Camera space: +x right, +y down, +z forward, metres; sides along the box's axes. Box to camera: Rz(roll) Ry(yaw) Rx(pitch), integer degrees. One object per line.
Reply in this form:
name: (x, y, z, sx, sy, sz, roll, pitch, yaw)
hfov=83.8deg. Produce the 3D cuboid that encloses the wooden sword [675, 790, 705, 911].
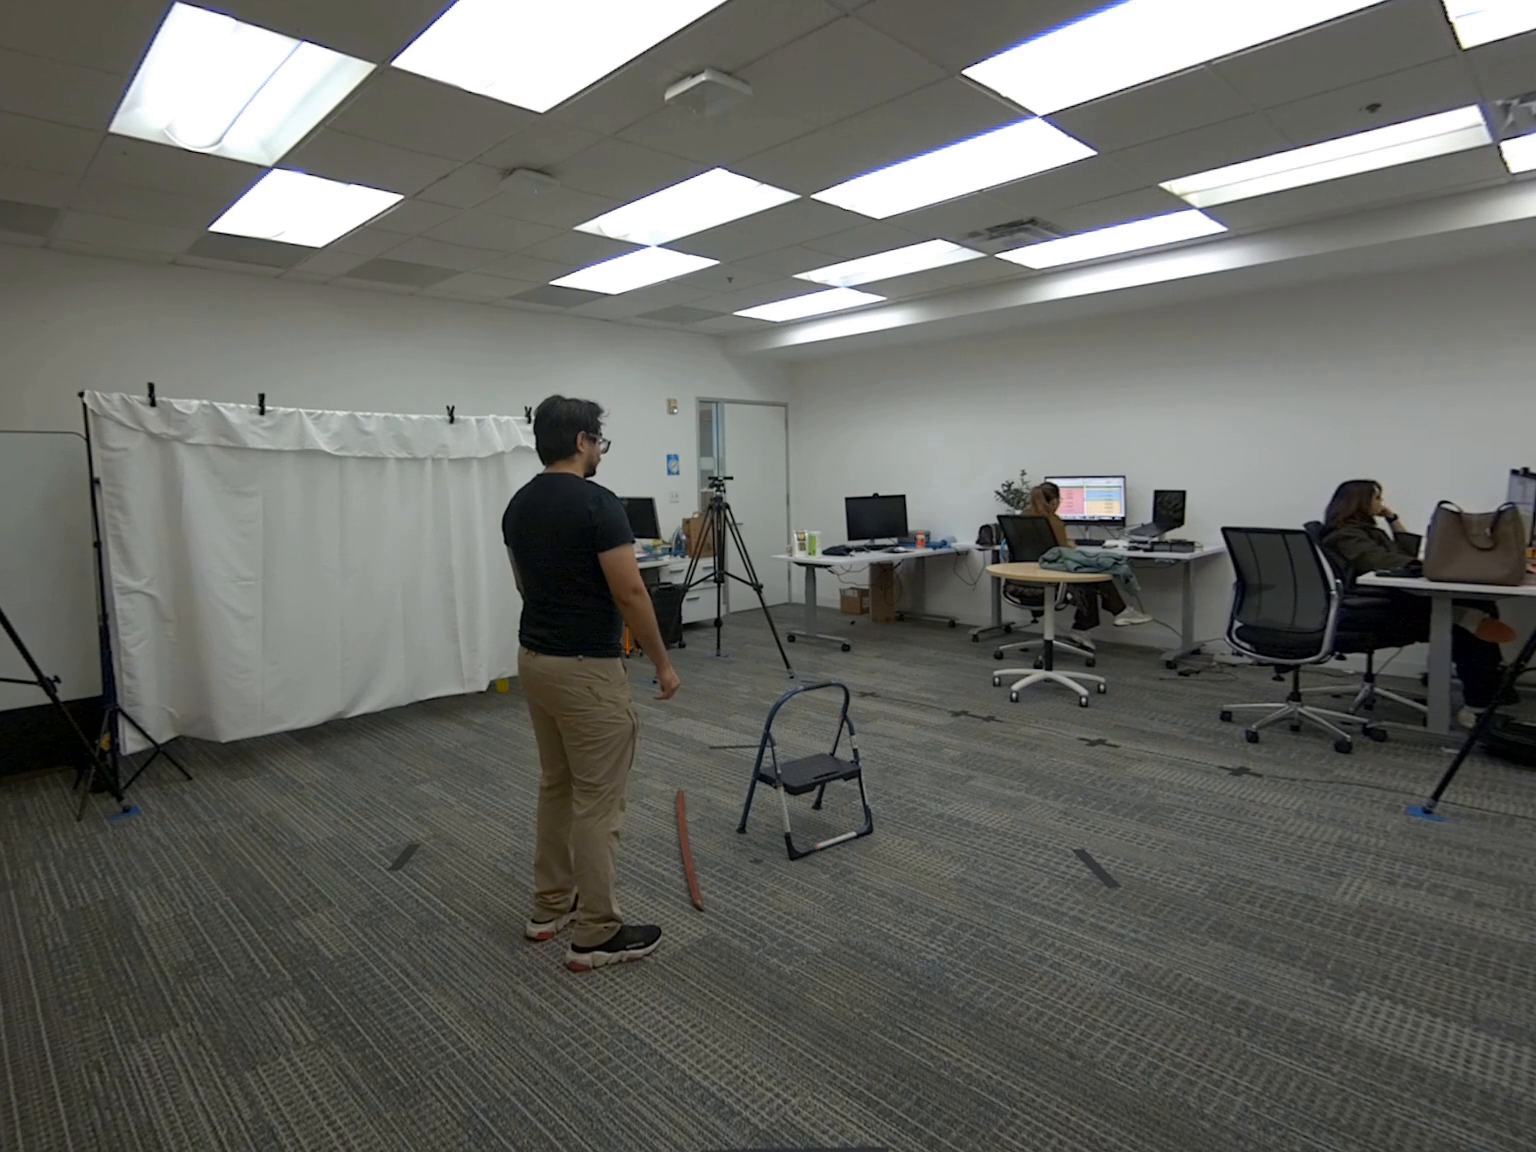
wooden sword: (-0.306, 1.001, 3.254, 0.051, 0.024, 1.036, 21, 3, -10)
